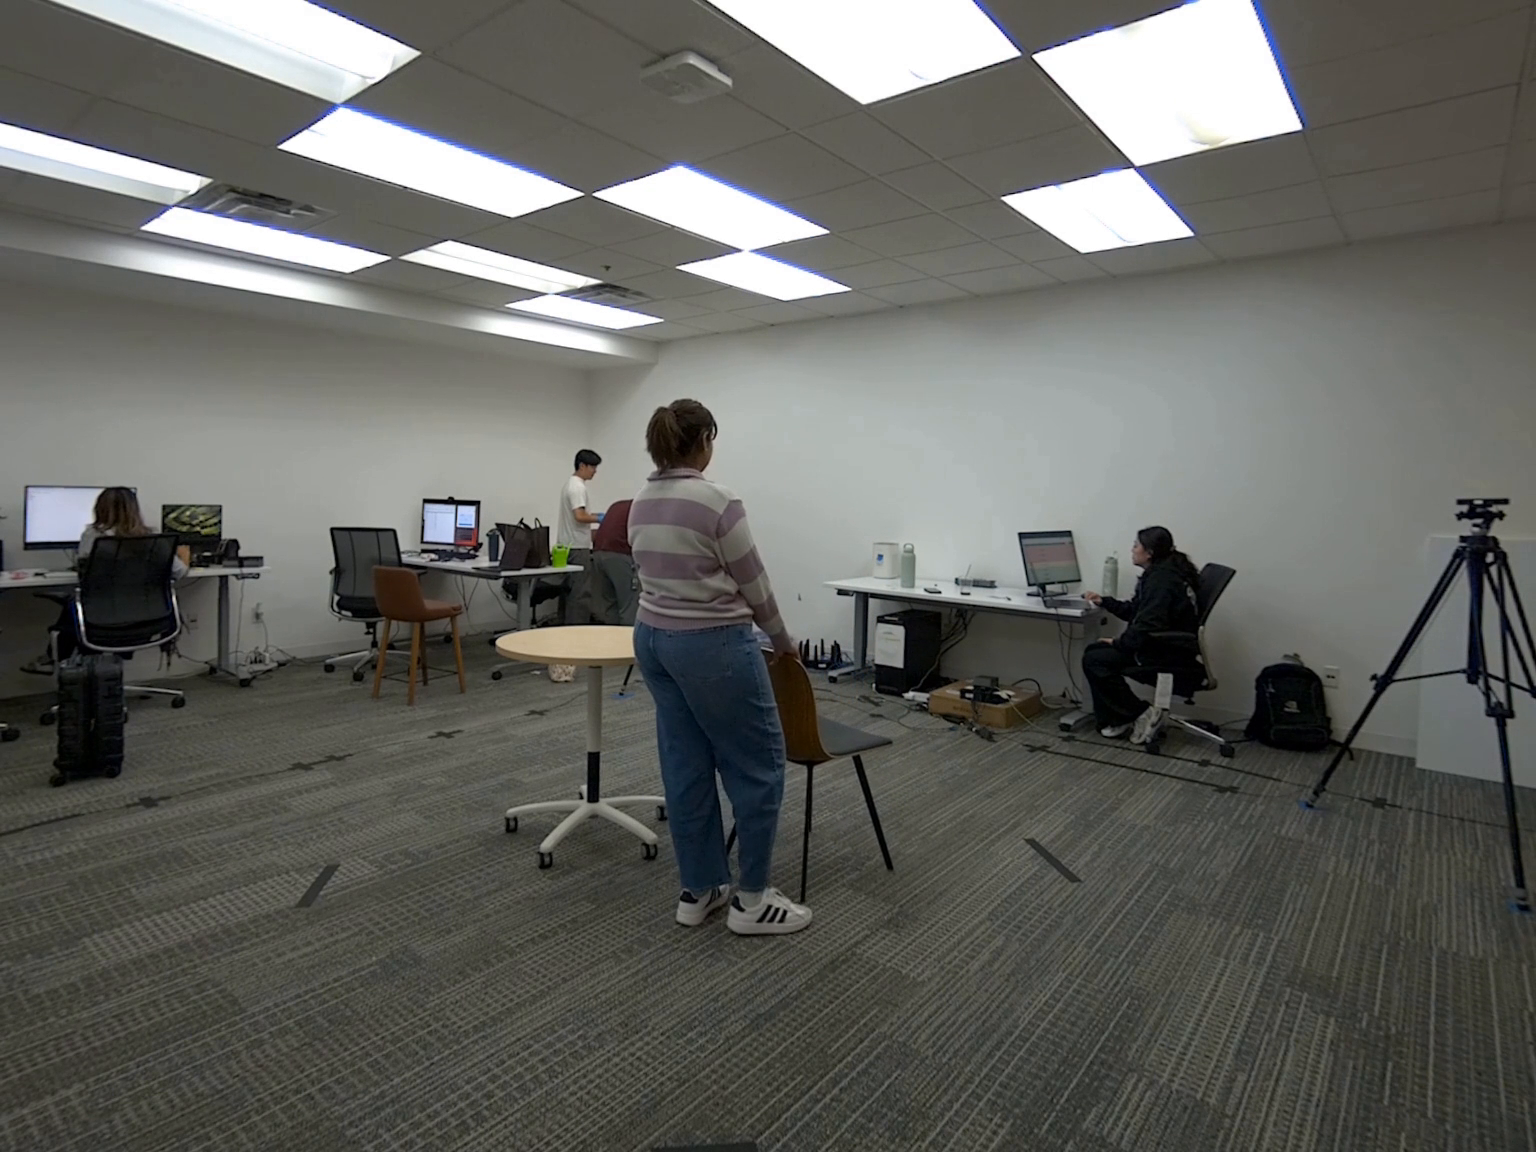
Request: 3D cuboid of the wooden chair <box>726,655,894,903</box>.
[{"bbox_3d":[0.151,0.645,3.155,0.509,0.872,0.494,-7,7,-38],"label":"wooden chair"}]
